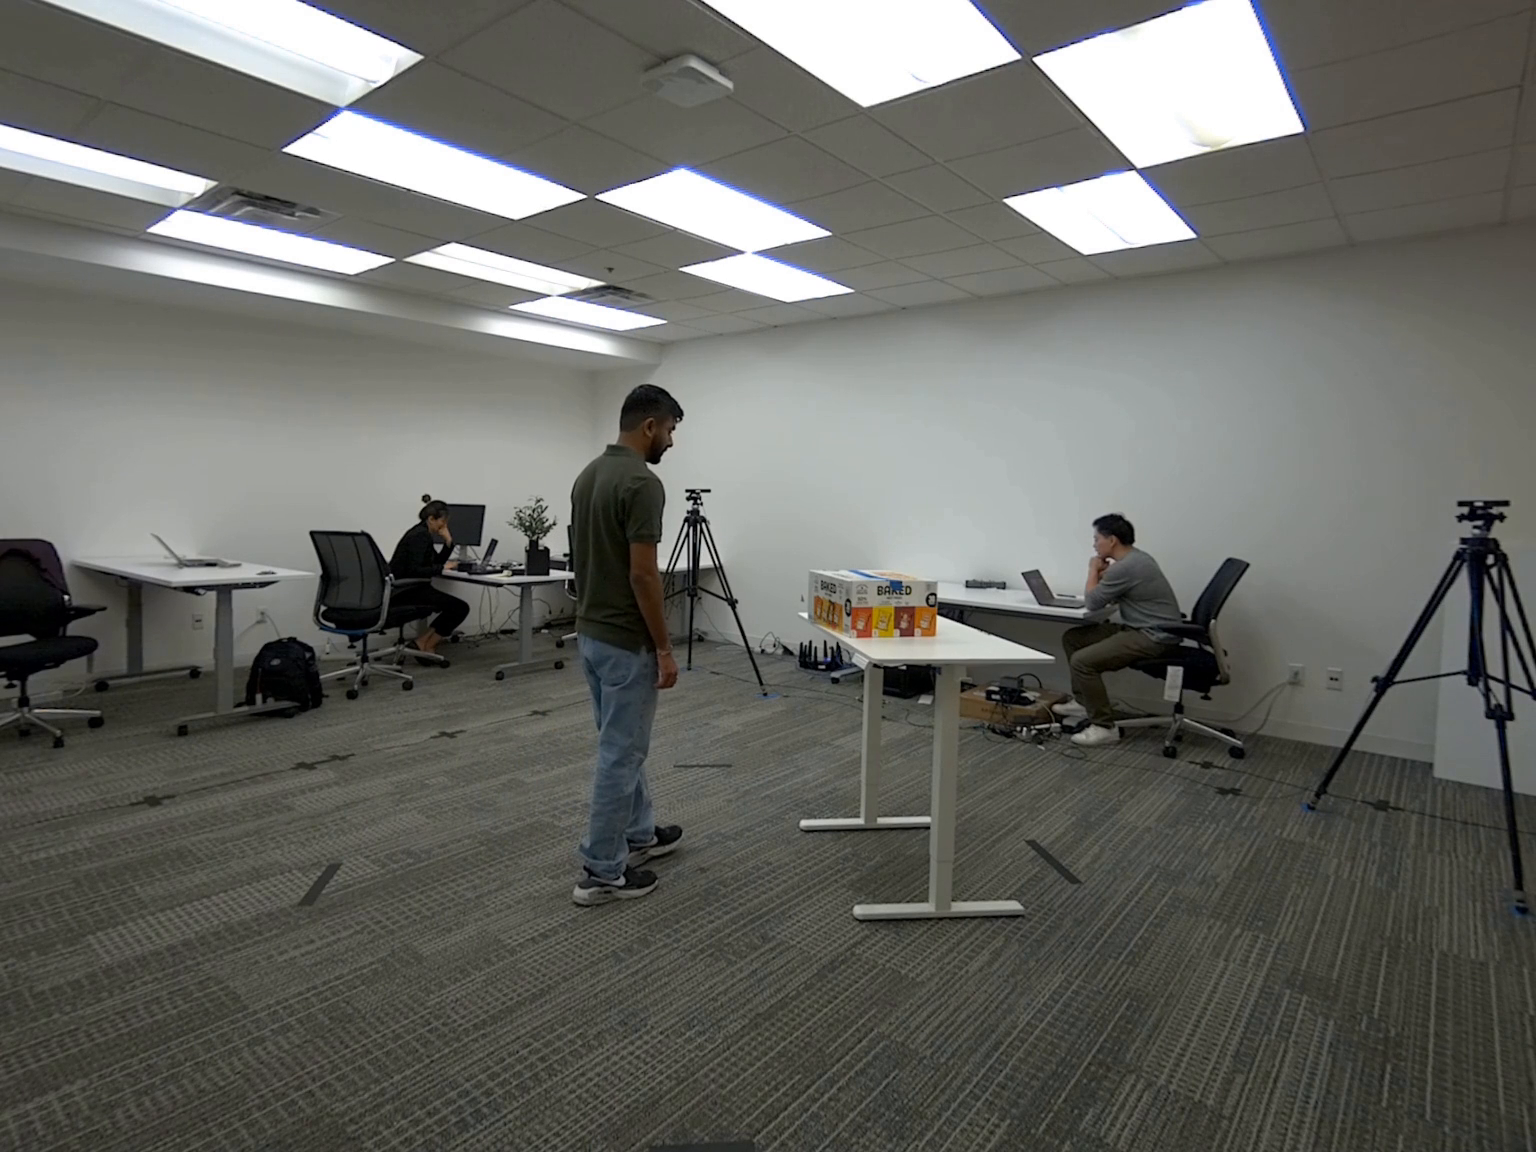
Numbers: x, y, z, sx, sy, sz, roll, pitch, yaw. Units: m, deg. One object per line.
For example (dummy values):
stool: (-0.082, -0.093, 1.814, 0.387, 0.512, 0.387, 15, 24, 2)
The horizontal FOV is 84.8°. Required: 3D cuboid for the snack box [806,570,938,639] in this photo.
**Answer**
snack box: (0.378, 0.095, 3.210, 0.334, 0.205, 0.414, 0, 5, -18)
